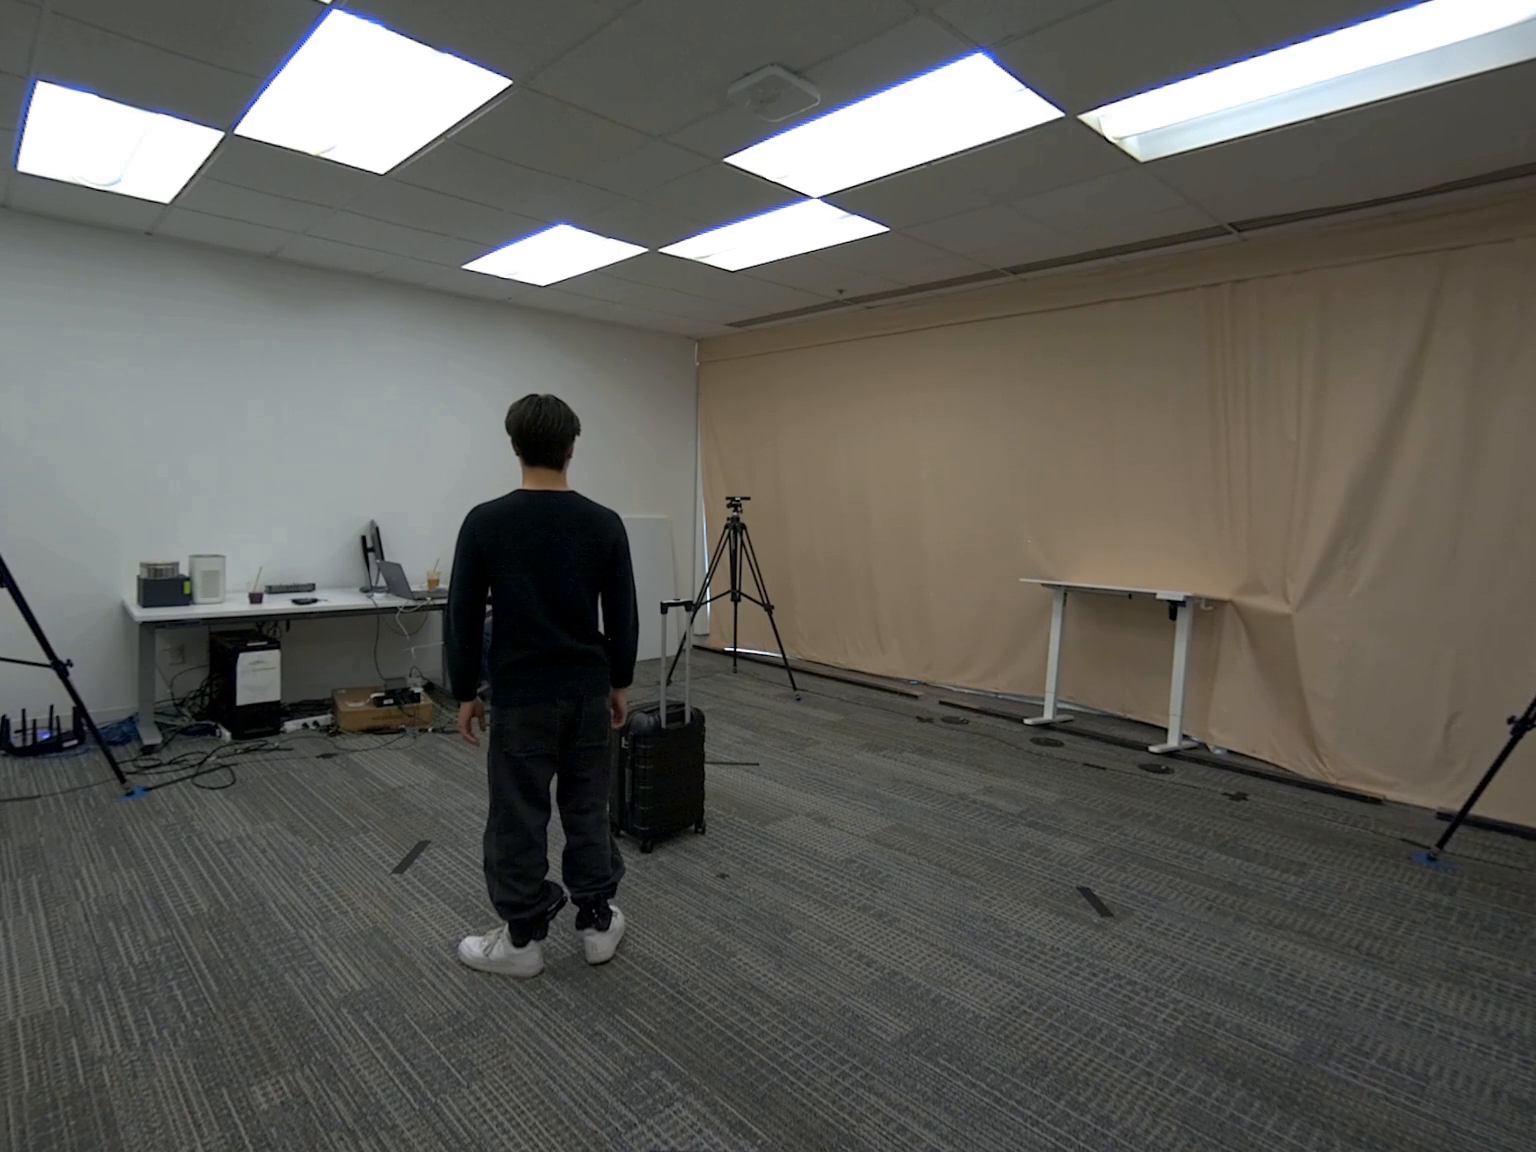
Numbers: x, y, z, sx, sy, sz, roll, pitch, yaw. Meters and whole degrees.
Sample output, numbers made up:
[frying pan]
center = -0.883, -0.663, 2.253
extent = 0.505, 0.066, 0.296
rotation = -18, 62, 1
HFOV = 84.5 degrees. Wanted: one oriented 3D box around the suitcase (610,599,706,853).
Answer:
[suitcase]
center = -0.460, 0.591, 3.435
extent = 0.263, 0.976, 0.375
rotation = 3, 4, 45
